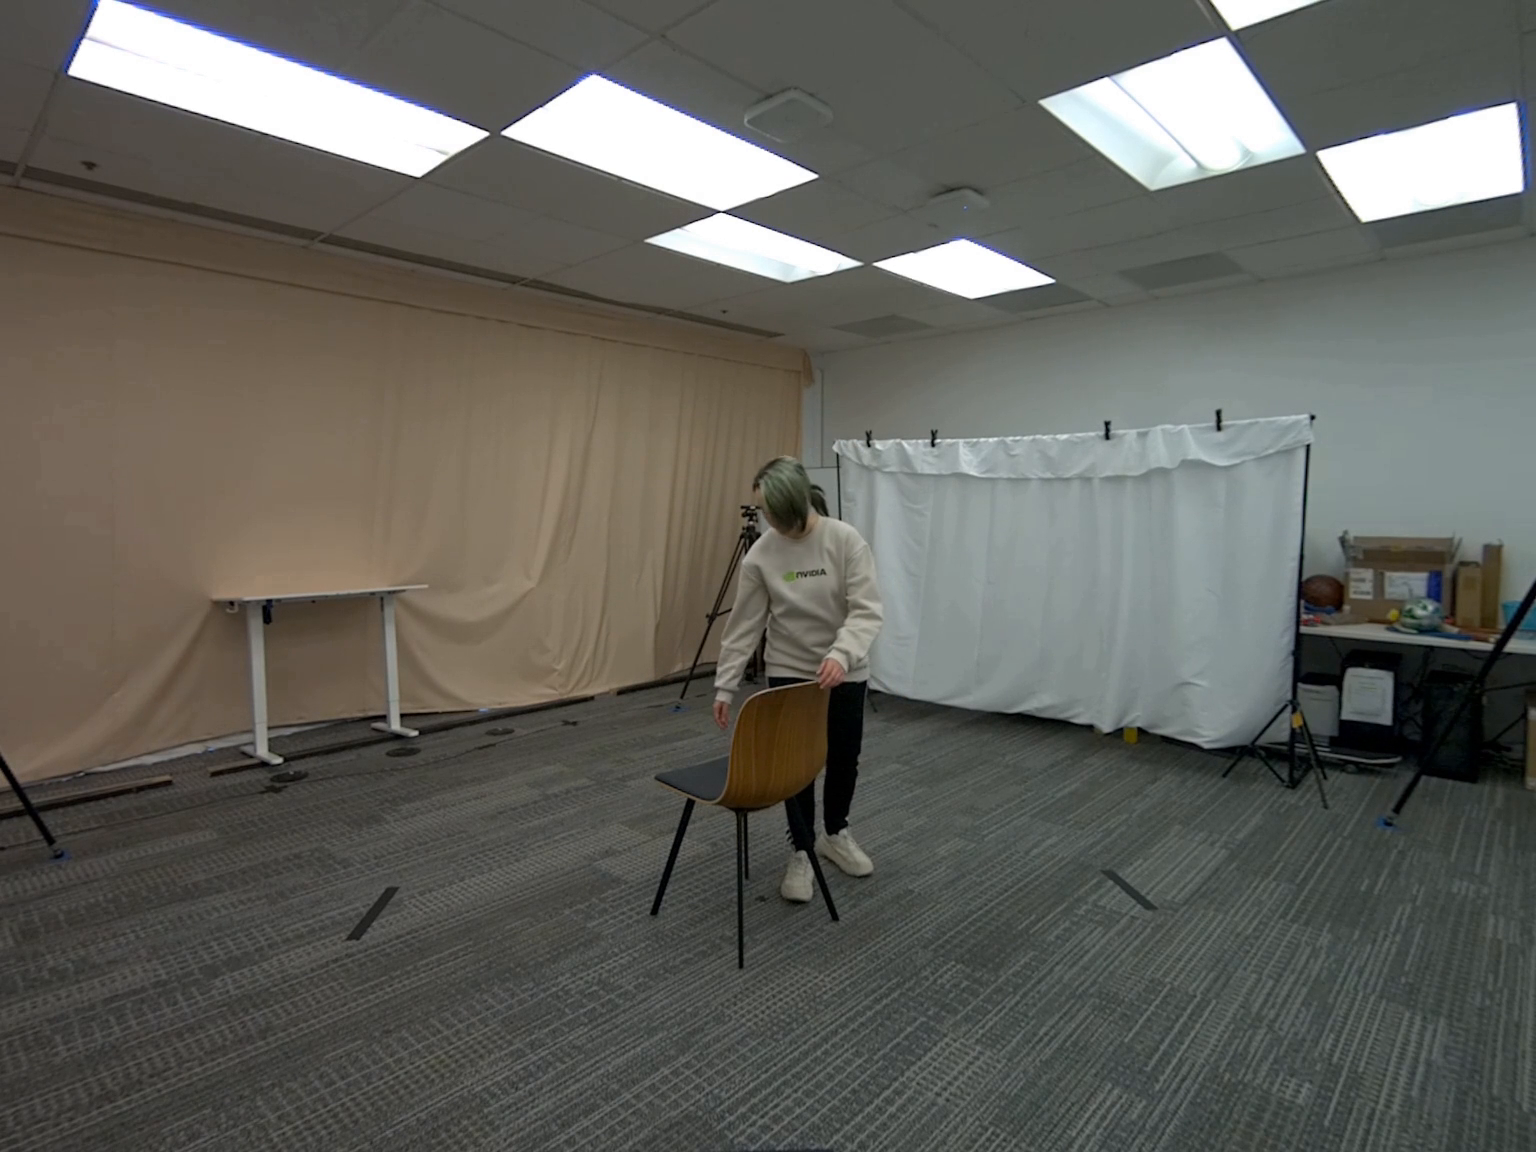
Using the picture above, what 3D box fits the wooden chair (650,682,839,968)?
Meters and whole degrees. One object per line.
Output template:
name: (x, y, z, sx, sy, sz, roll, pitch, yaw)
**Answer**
wooden chair: (-0.093, 0.727, 2.821, 0.463, 0.874, 0.541, -3, 9, -43)
